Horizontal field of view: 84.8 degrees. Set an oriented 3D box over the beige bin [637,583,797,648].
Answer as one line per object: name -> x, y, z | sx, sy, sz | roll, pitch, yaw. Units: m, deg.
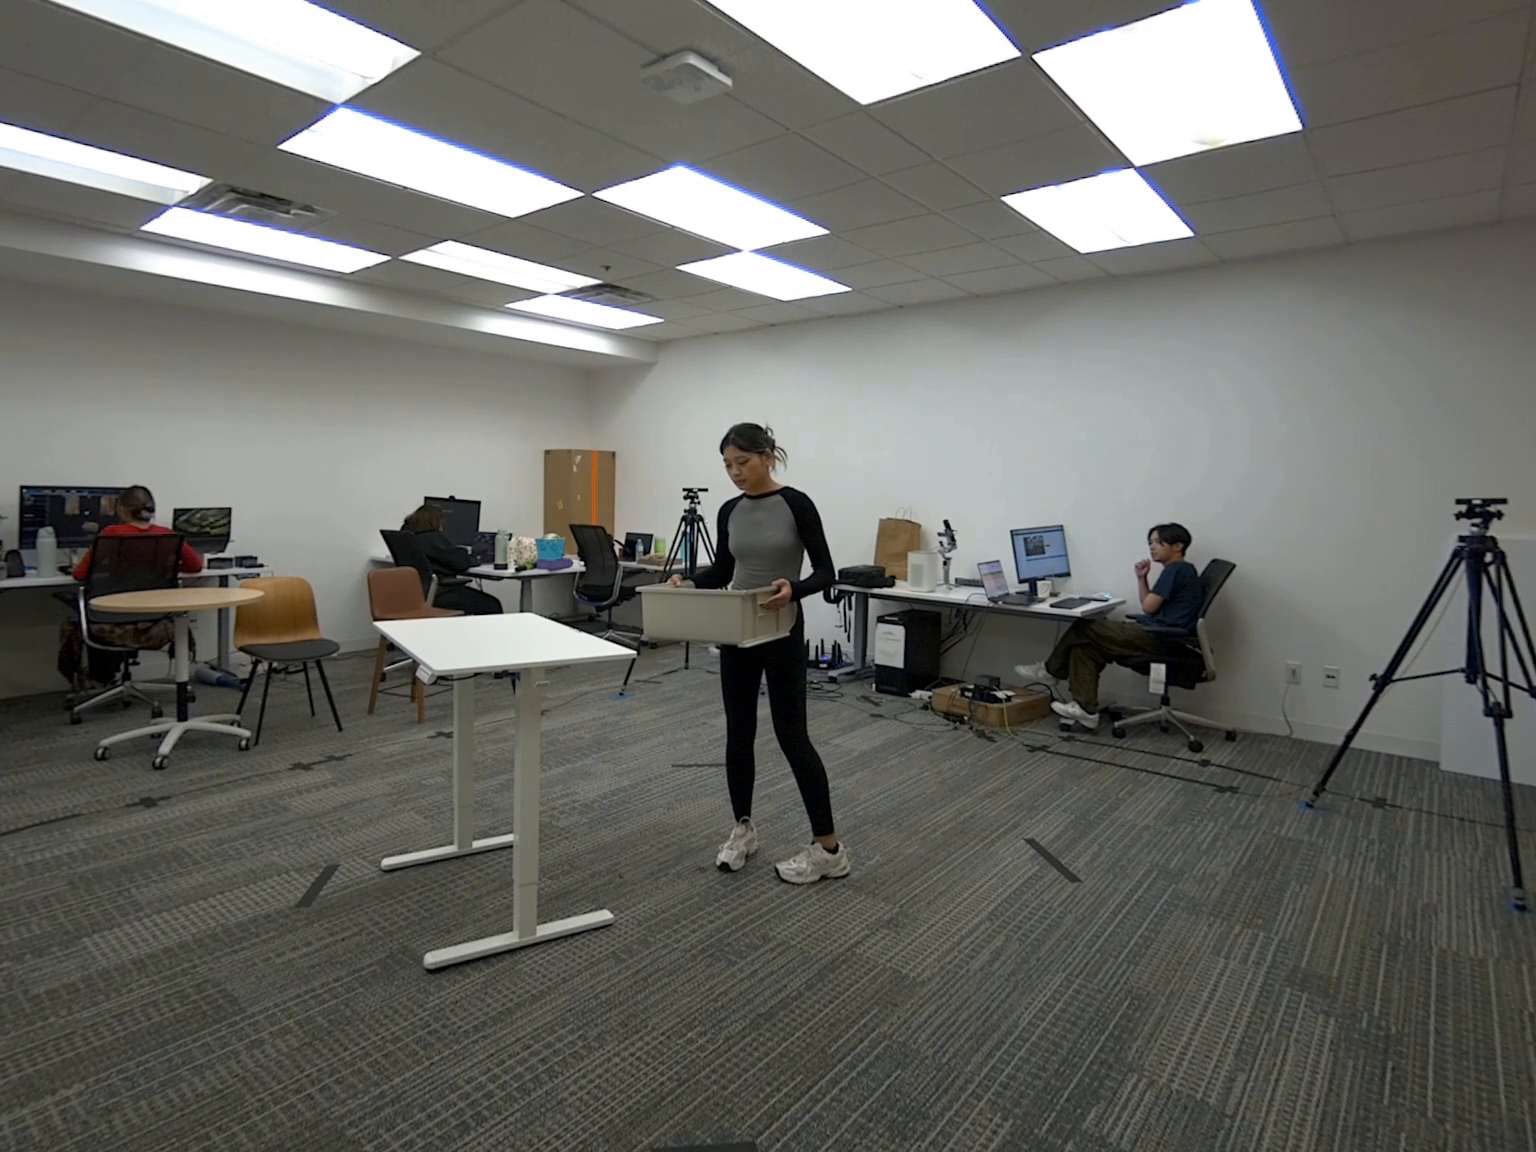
beige bin -> -0.176, 0.119, 2.920 | 0.434, 0.188, 0.368 | 1, 6, 29
